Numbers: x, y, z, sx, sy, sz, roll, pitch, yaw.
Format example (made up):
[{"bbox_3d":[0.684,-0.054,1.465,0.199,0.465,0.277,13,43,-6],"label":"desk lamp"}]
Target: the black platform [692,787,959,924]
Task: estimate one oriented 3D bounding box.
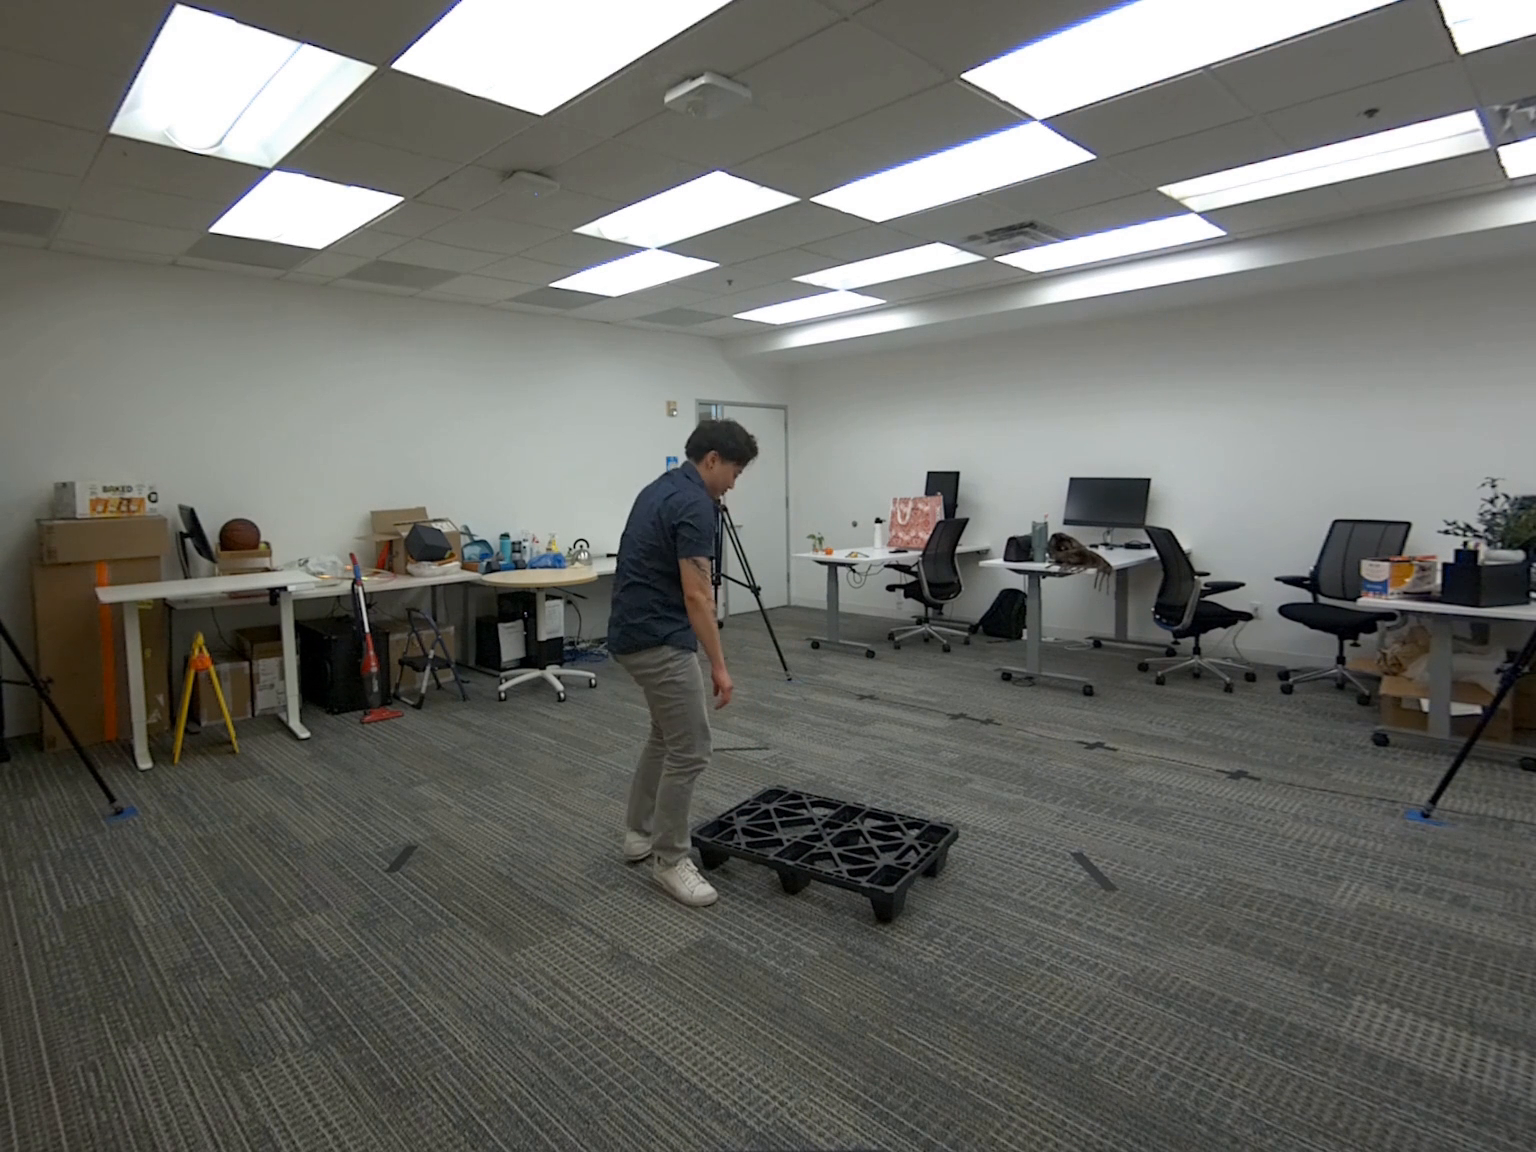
[{"bbox_3d":[0.197,0.976,3.067,0.829,0.143,0.590,4,7,34],"label":"black platform"}]
